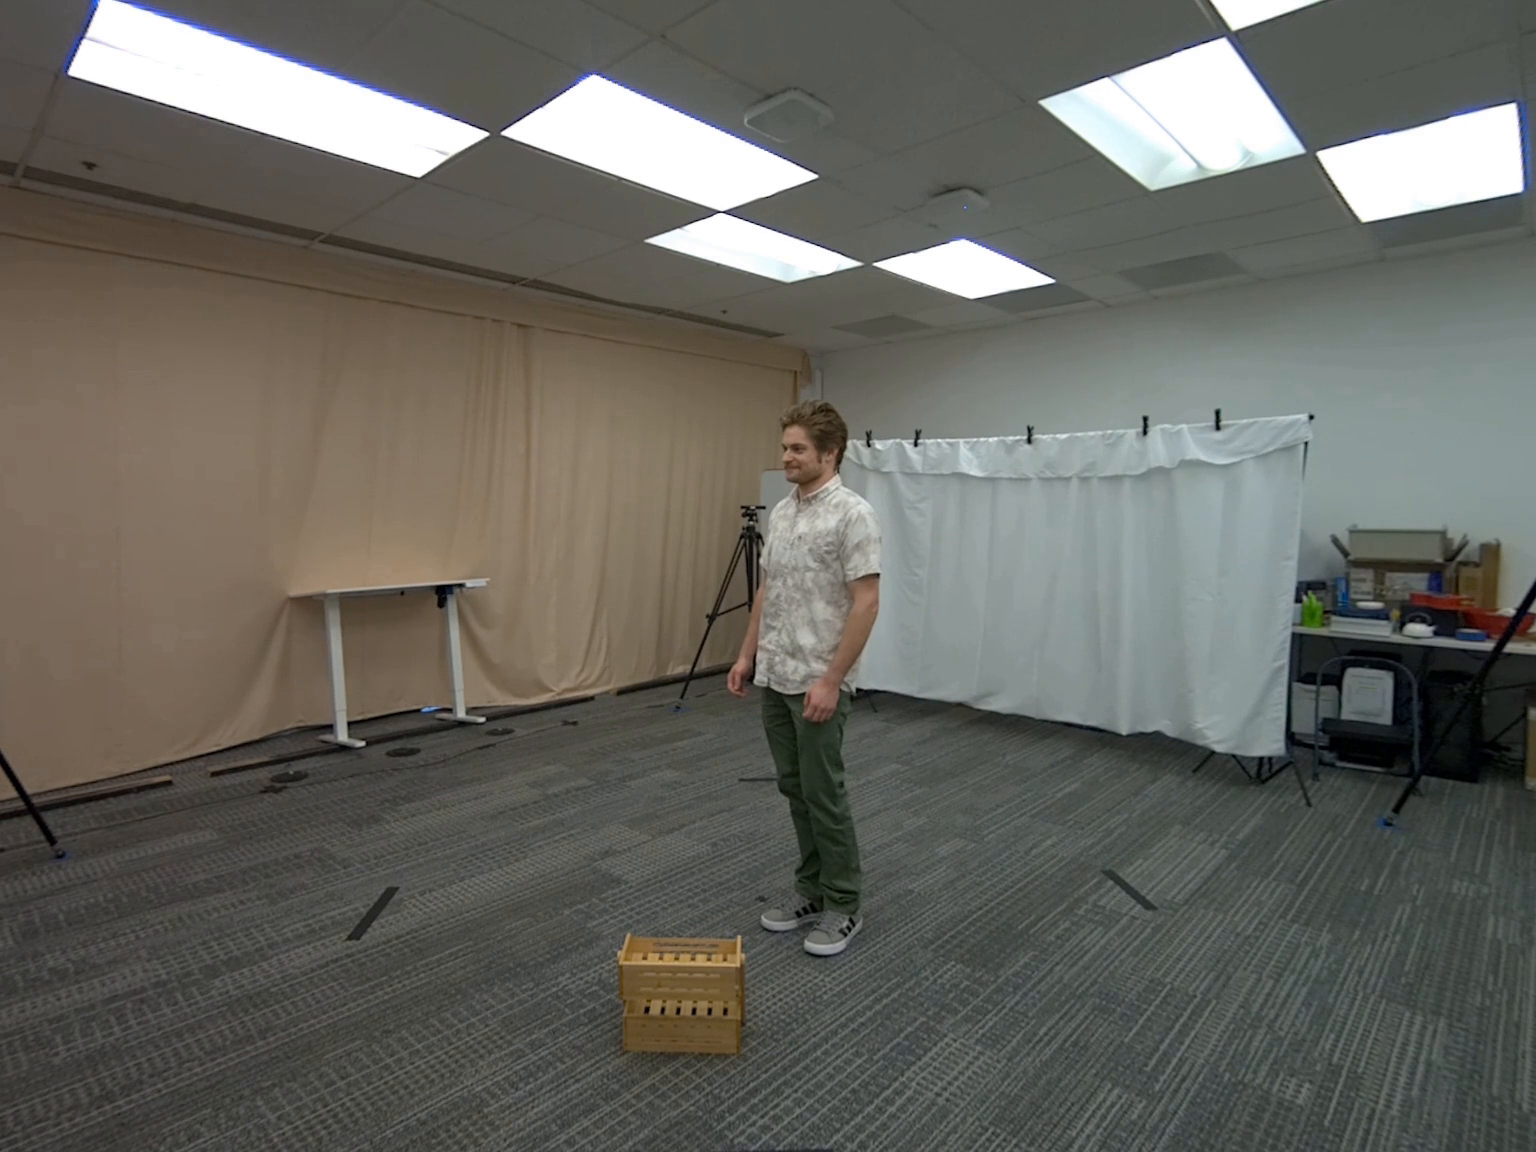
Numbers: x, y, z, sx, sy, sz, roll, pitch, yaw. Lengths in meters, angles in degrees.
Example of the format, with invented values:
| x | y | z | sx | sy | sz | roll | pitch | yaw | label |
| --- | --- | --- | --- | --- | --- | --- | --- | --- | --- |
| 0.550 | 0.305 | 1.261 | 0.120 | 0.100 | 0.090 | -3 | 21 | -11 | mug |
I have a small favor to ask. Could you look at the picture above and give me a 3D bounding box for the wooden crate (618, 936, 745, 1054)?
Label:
| x | y | z | sx | sy | sz | roll | pitch | yaw | label |
| --- | --- | --- | --- | --- | --- | --- | --- | --- | --- |
| -0.222 | 1.075 | 2.233 | 0.325 | 0.272 | 0.302 | 0 | 4 | 0 | wooden crate |
